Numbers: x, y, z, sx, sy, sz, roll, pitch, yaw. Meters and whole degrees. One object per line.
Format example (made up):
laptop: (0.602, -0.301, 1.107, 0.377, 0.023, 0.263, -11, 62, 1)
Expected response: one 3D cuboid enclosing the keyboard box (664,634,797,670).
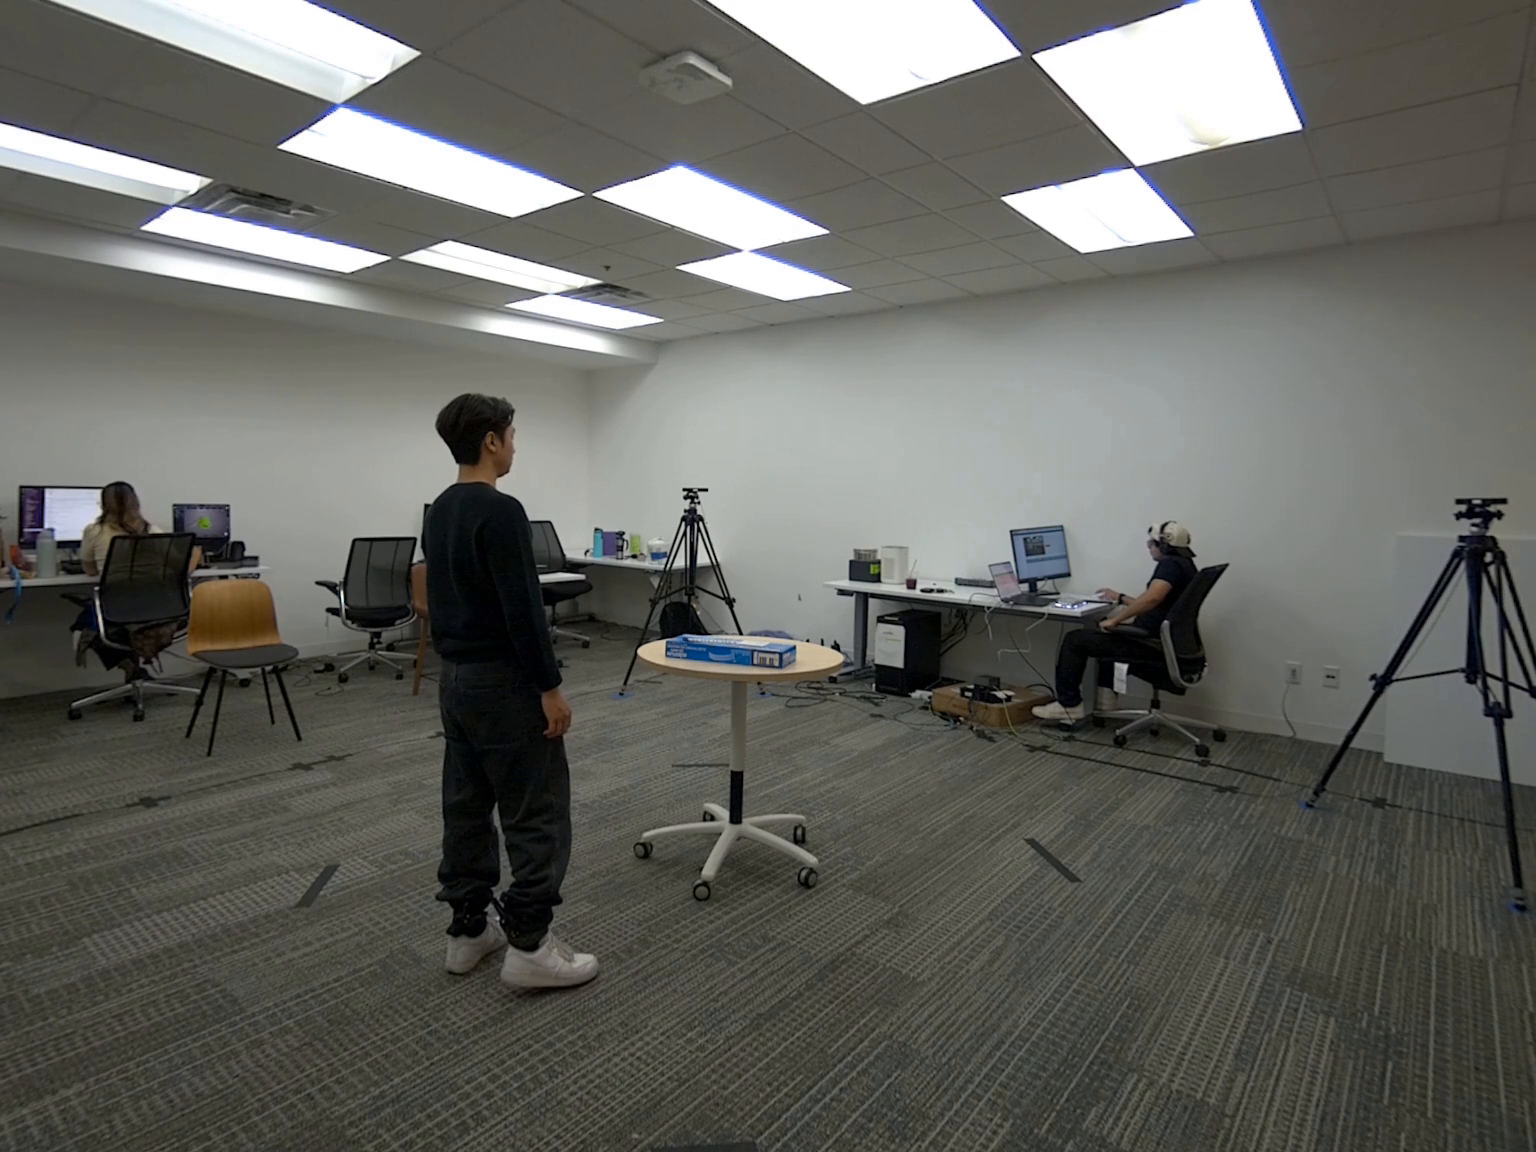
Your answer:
keyboard box: (-0.138, 0.263, 3.046, 0.447, 0.059, 0.173, 3, 6, 21)
